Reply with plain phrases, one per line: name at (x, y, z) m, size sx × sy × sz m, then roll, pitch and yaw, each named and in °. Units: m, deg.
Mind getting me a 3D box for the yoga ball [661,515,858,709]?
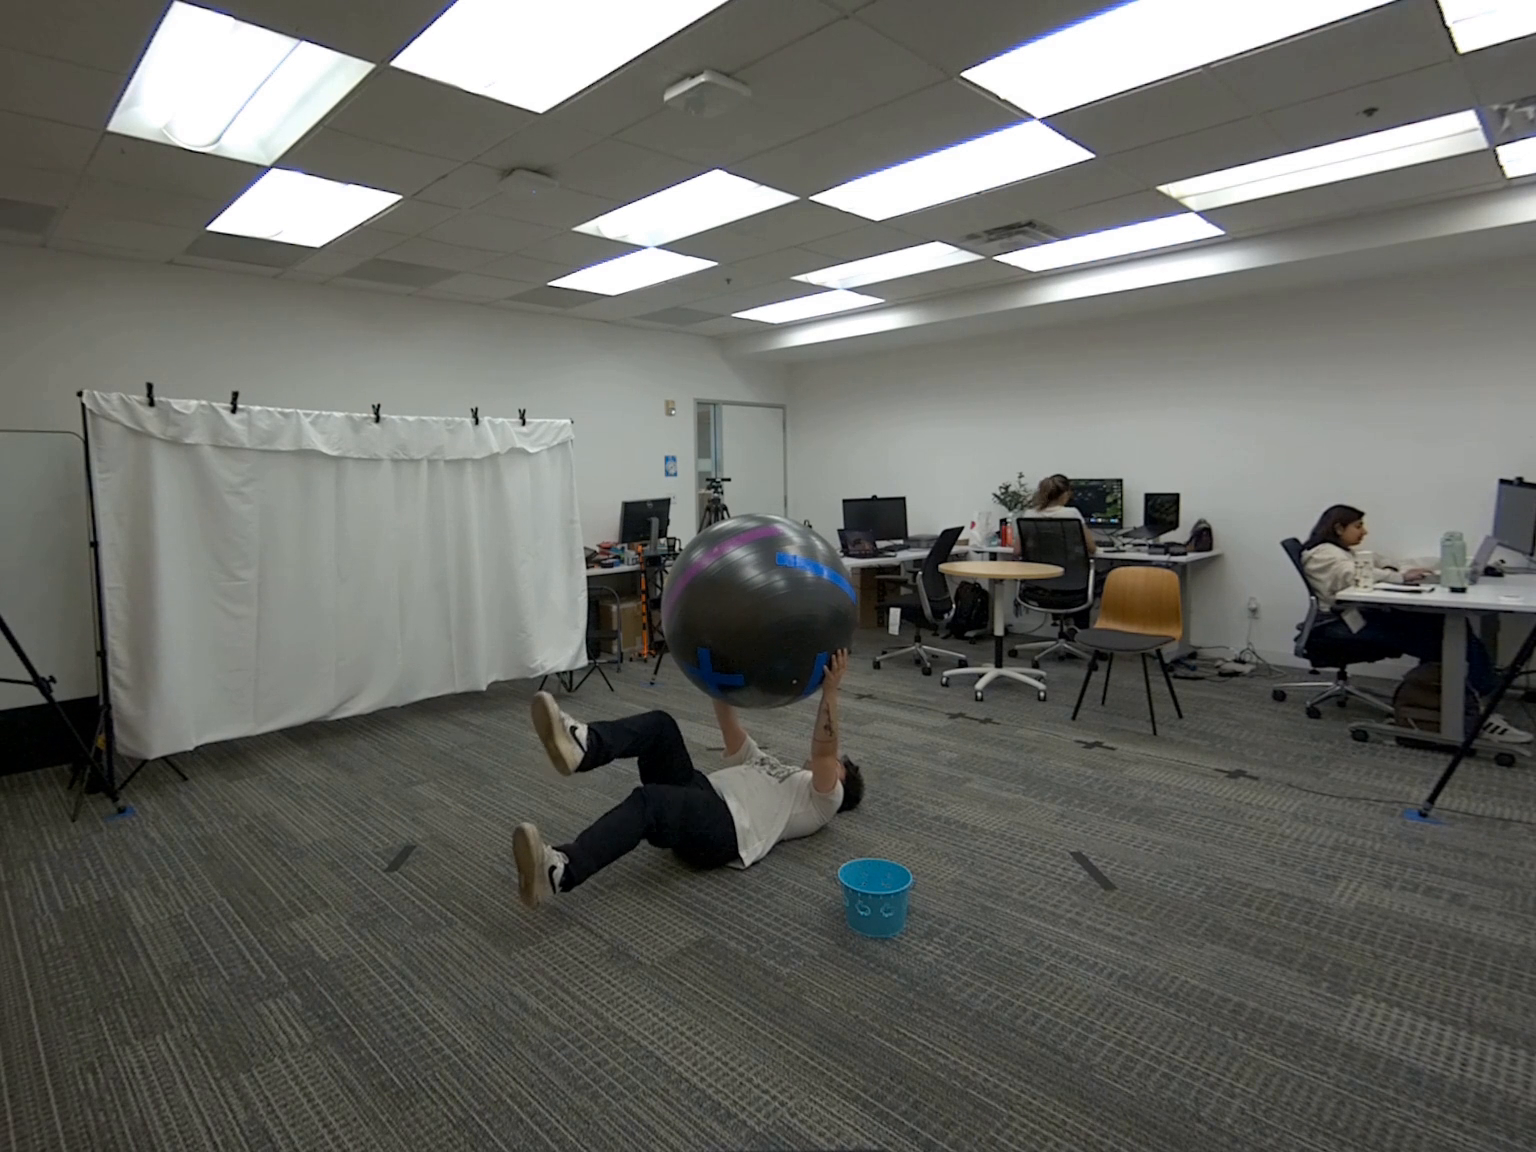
yoga ball at (-0.038, 0.142, 3.327) m, size 0.757 × 0.755 × 0.762 m, roll -1°, pitch 5°, yaw -2°
